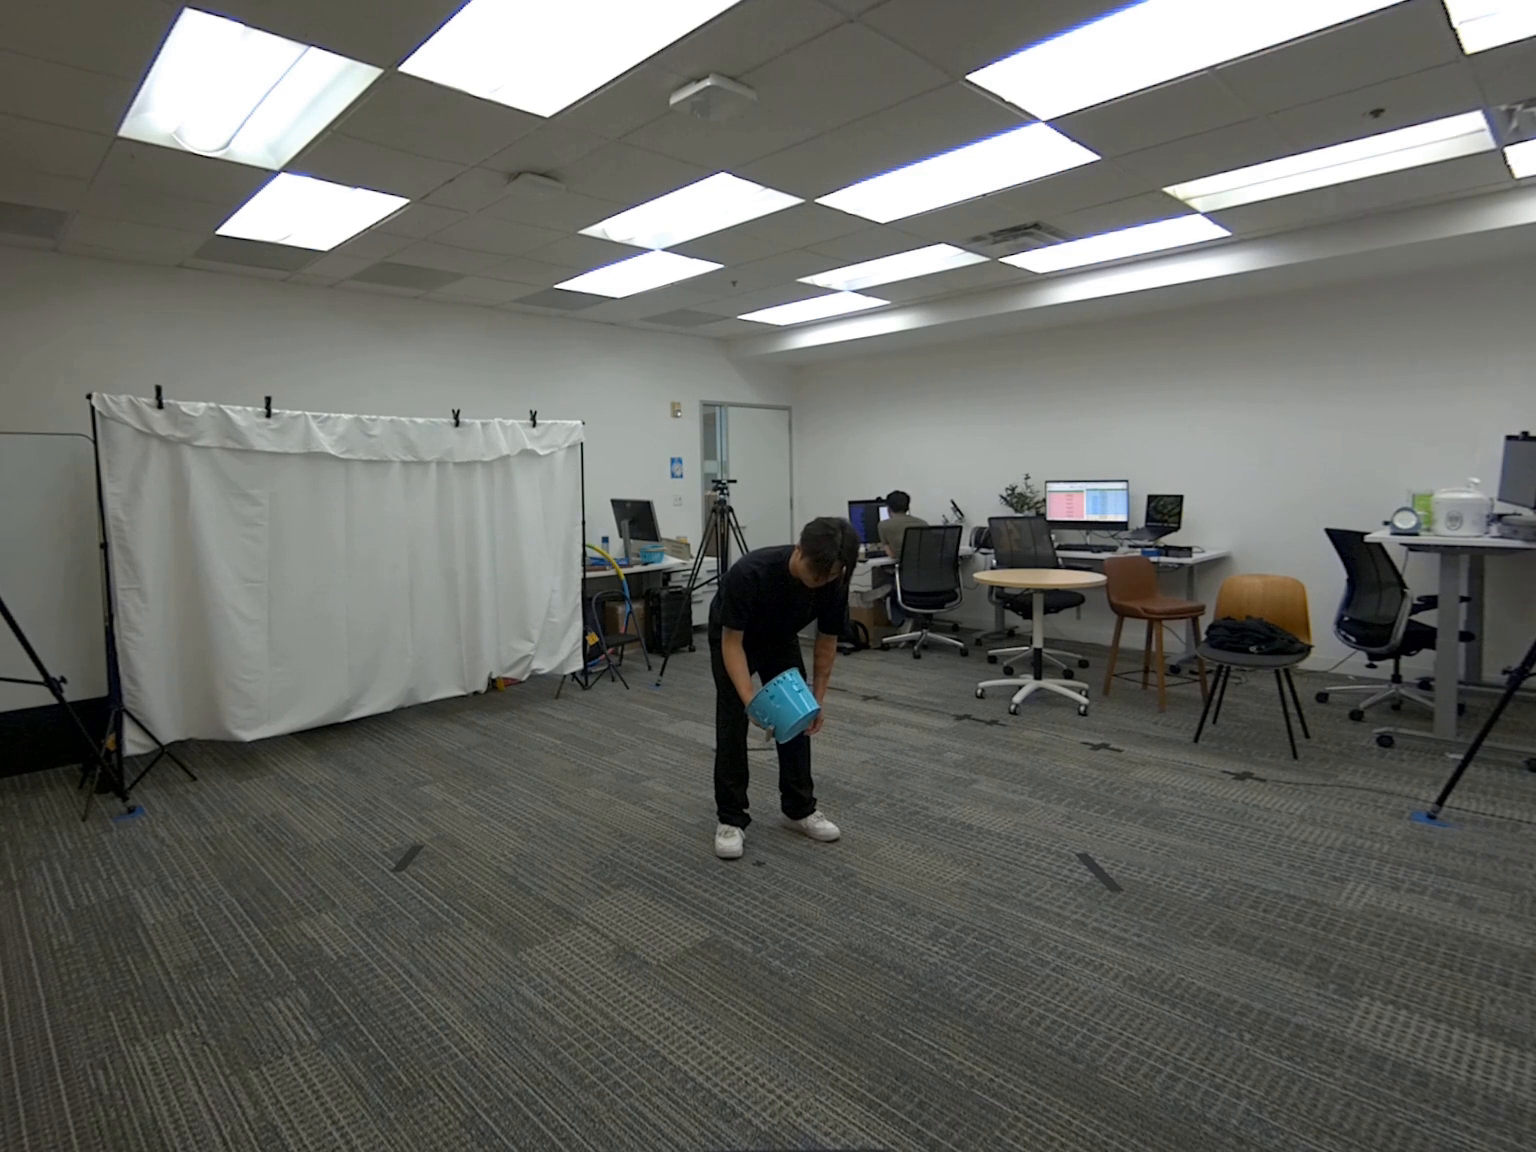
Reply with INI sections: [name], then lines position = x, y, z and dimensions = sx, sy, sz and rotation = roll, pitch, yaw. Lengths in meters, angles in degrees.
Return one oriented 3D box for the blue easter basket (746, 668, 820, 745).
[blue easter basket]
position = 0.053, 0.458, 2.879
dimensions = 0.160, 0.242, 0.237
rotation = 49, 30, 22
